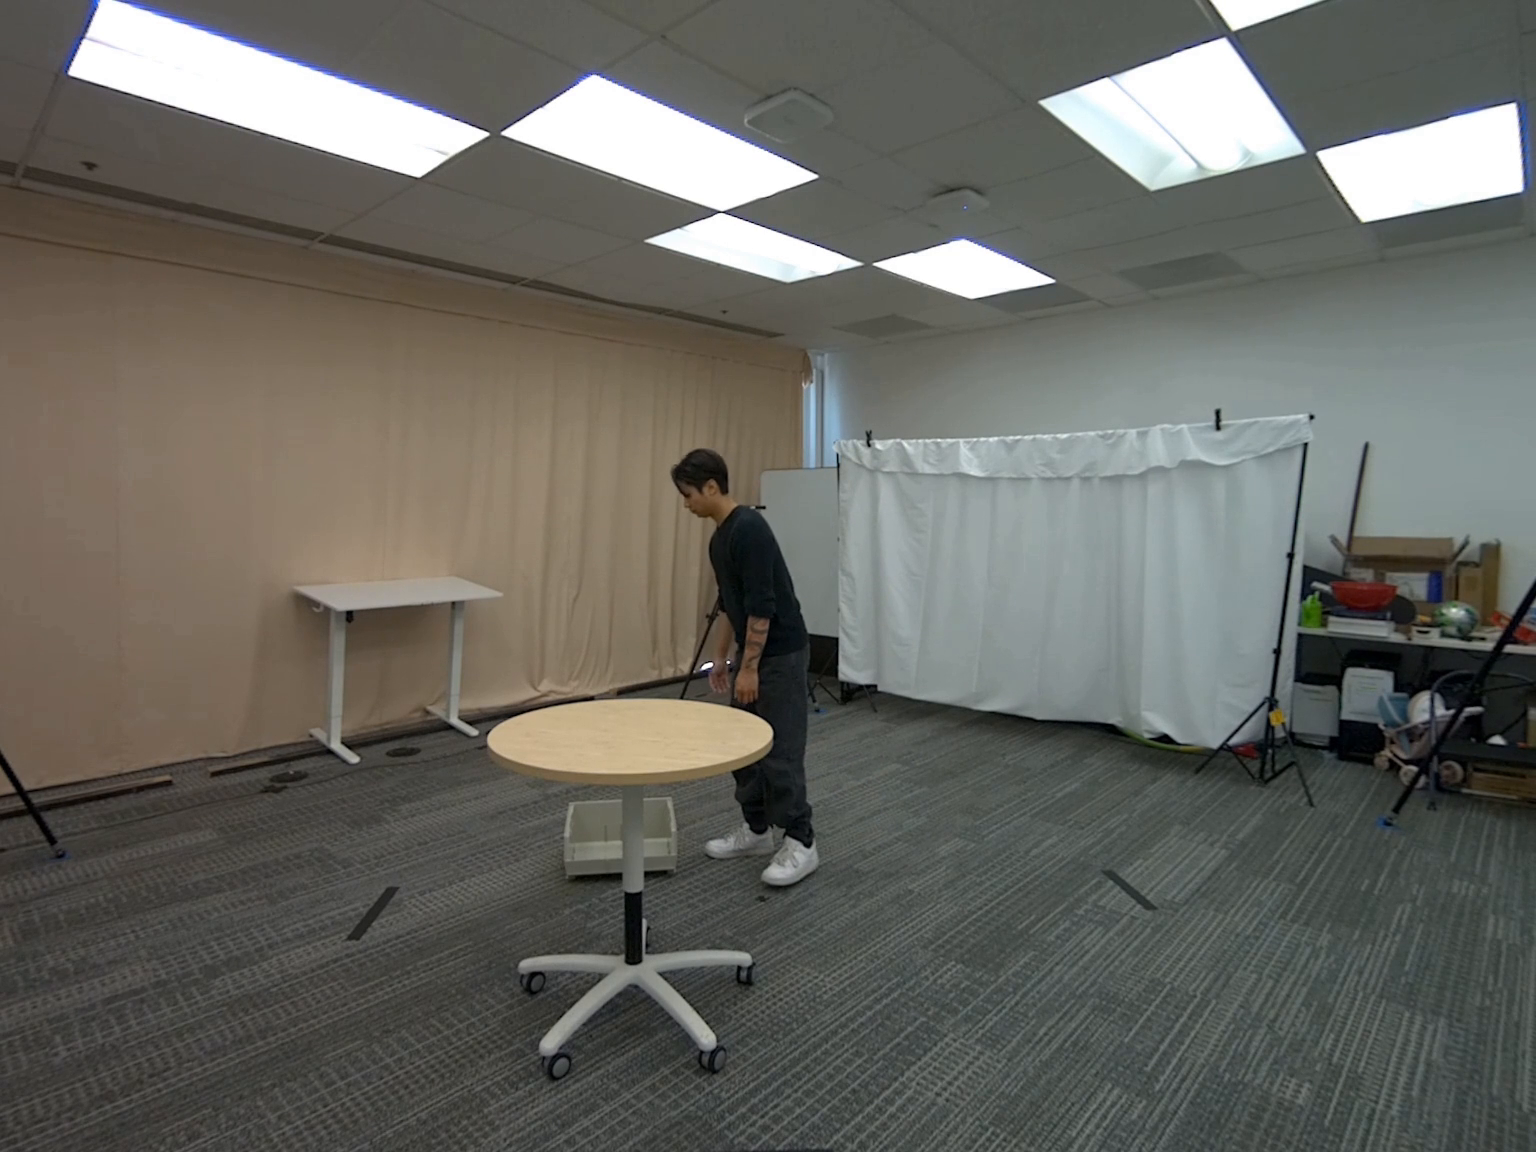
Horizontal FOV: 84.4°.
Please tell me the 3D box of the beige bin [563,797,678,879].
[{"bbox_3d":[-0.577,1.035,3.313,0.419,0.188,0.381,-2,4,-8],"label":"beige bin"}]
